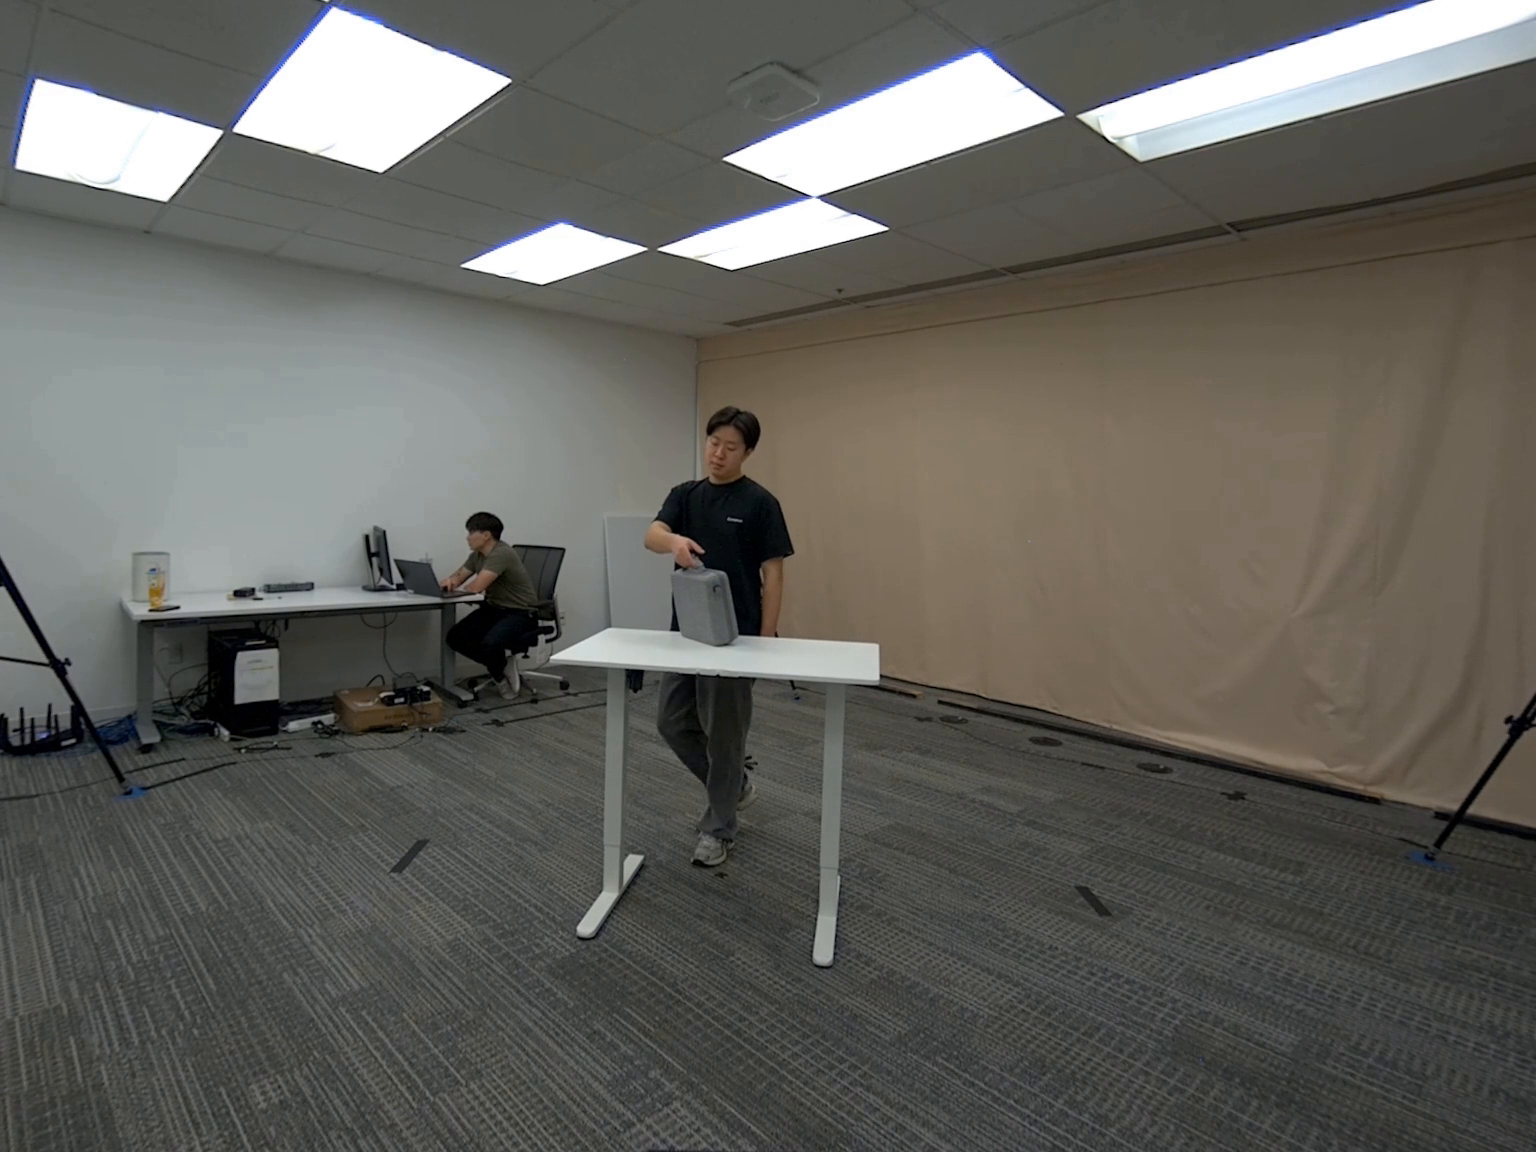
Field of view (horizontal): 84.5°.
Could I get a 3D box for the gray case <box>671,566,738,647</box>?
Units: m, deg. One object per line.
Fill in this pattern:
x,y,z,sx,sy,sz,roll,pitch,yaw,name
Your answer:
-0.234,0.093,2.946,0.101,0.284,0.269,-16,13,-31,gray case
